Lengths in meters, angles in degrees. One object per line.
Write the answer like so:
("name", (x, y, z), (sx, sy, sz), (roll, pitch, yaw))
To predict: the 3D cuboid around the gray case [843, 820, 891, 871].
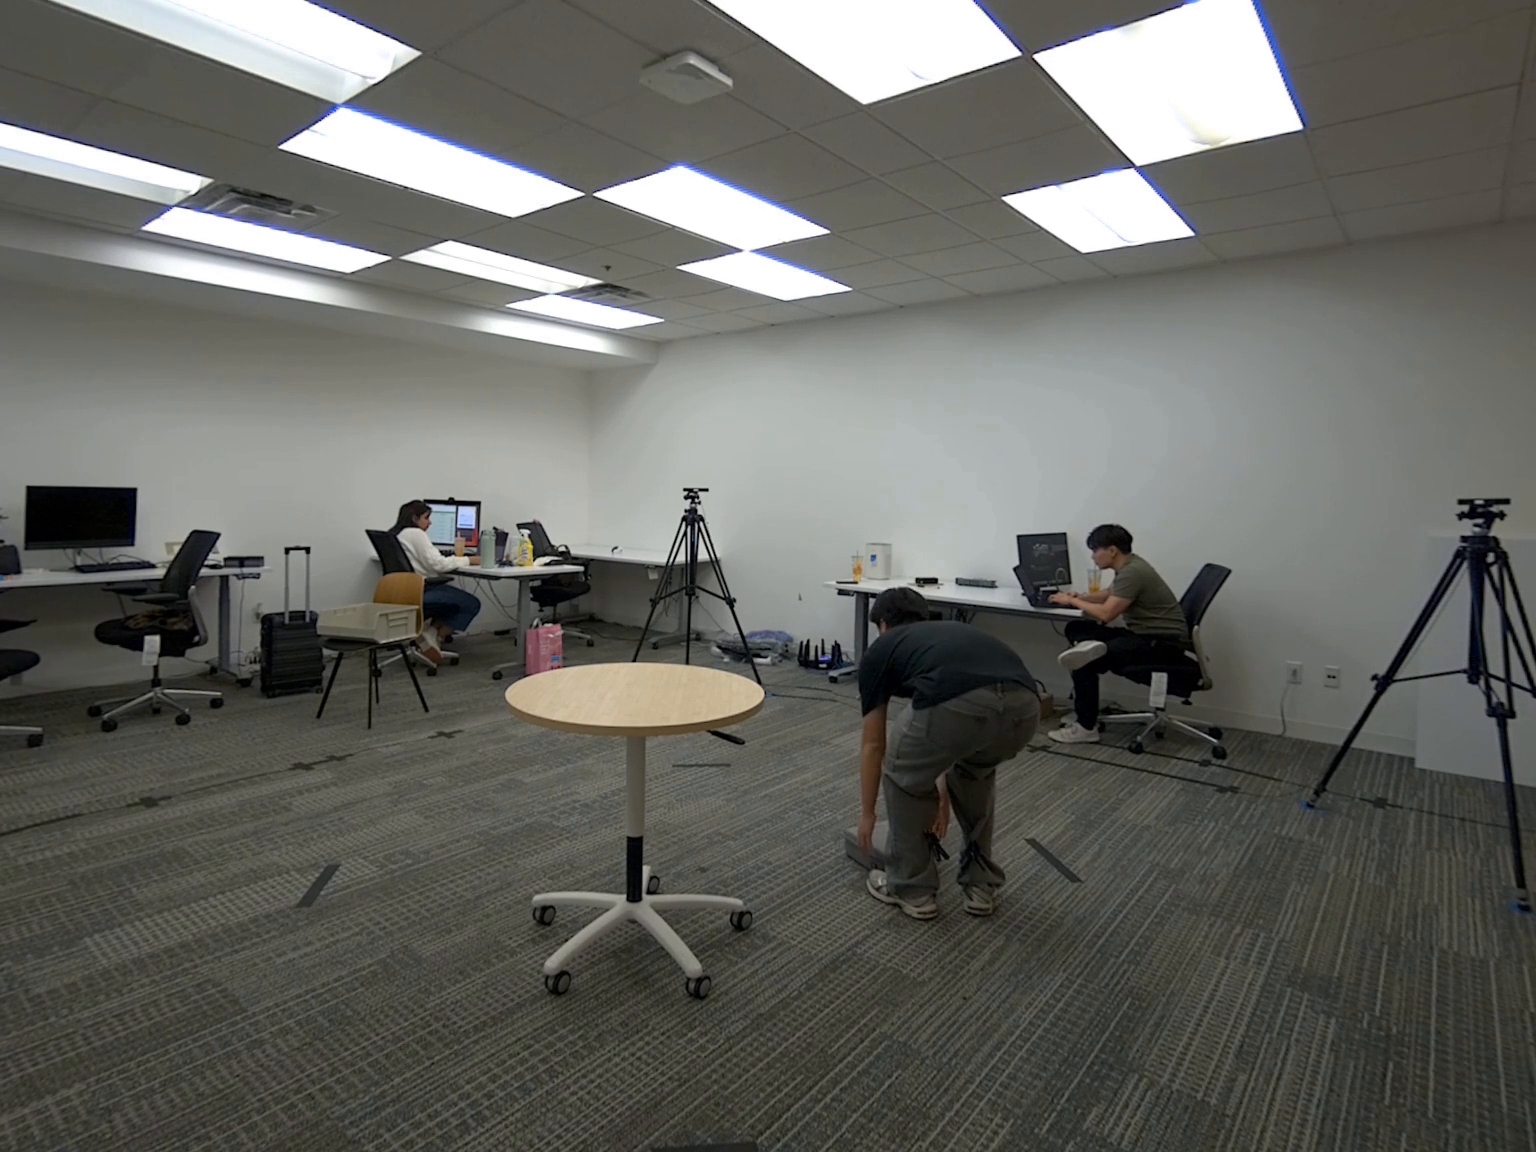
("gray case", (0.456, 1.018, 3.201), (0.256, 0.102, 0.296), (-2, 8, -29))
